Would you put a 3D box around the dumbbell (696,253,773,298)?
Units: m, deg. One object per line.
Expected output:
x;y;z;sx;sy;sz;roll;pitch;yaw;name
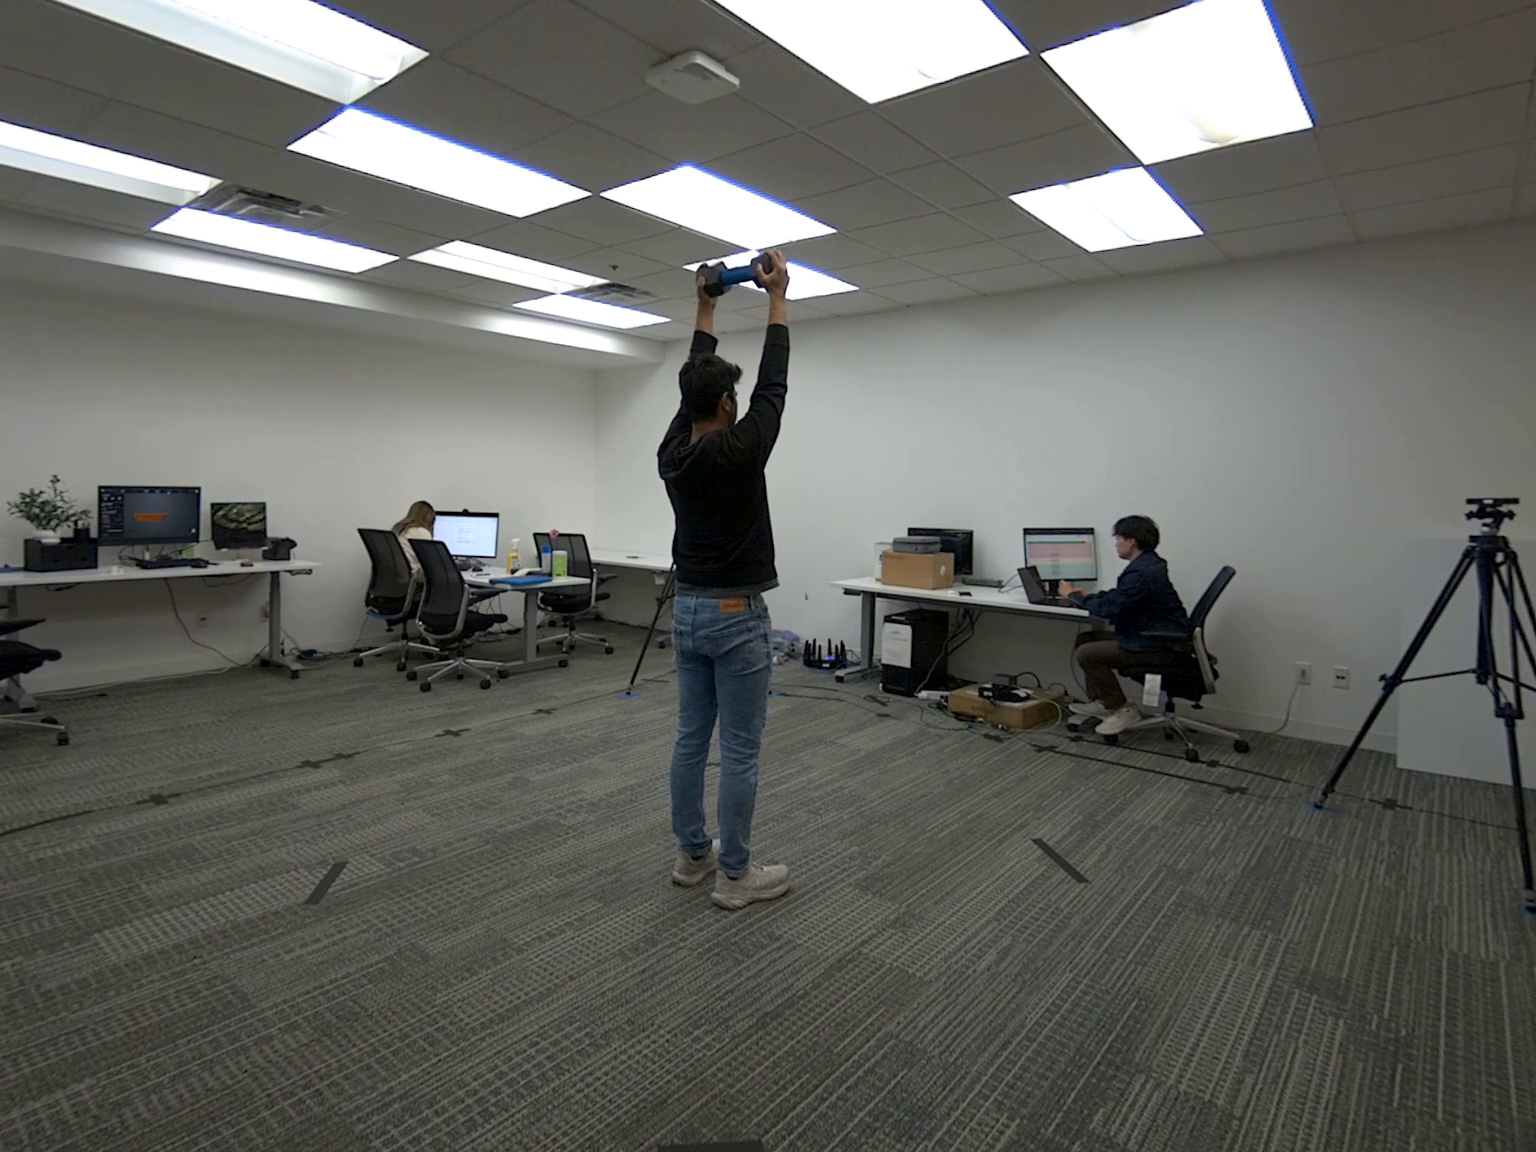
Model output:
-0.103;-1.044;2.953;0.302;0.110;0.118;2;-21;32;dumbbell
